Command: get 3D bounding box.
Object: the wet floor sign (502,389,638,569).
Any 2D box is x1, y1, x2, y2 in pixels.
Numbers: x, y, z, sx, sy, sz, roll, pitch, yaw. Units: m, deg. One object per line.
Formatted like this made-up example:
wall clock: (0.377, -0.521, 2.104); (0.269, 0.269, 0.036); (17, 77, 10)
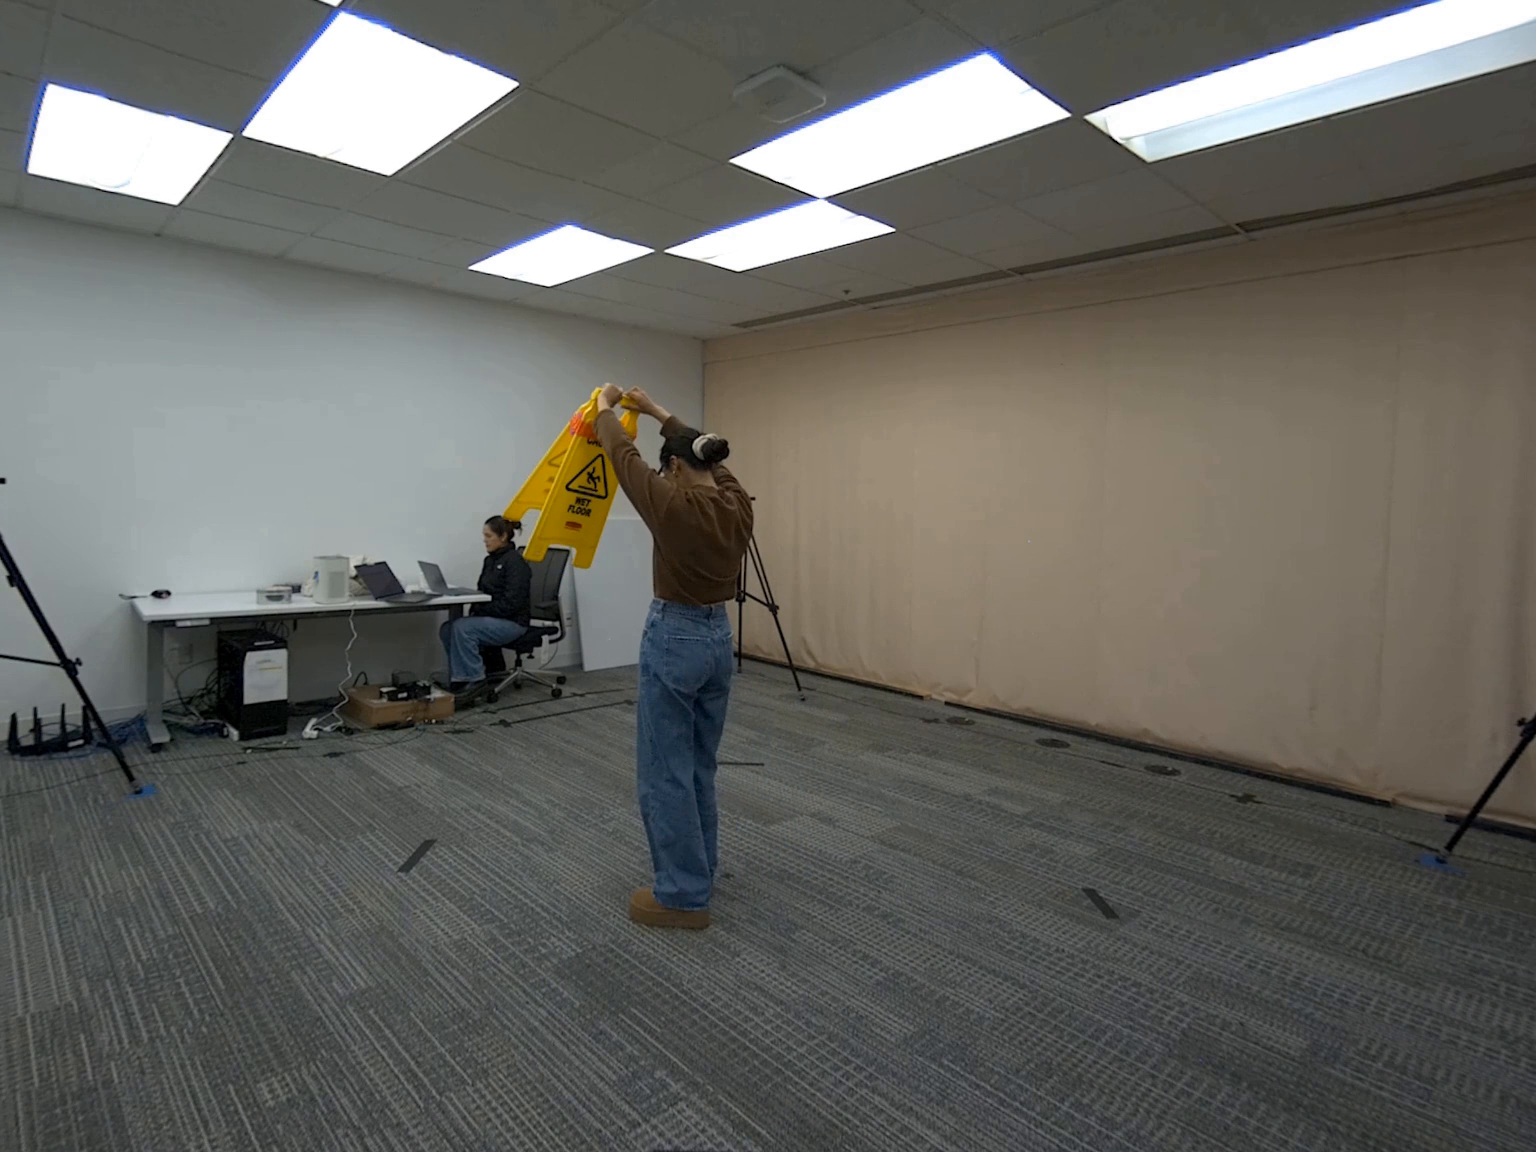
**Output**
wet floor sign: (-0.686, -0.374, 3.046); (0.274, 0.643, 0.299); (12, 26, -44)
